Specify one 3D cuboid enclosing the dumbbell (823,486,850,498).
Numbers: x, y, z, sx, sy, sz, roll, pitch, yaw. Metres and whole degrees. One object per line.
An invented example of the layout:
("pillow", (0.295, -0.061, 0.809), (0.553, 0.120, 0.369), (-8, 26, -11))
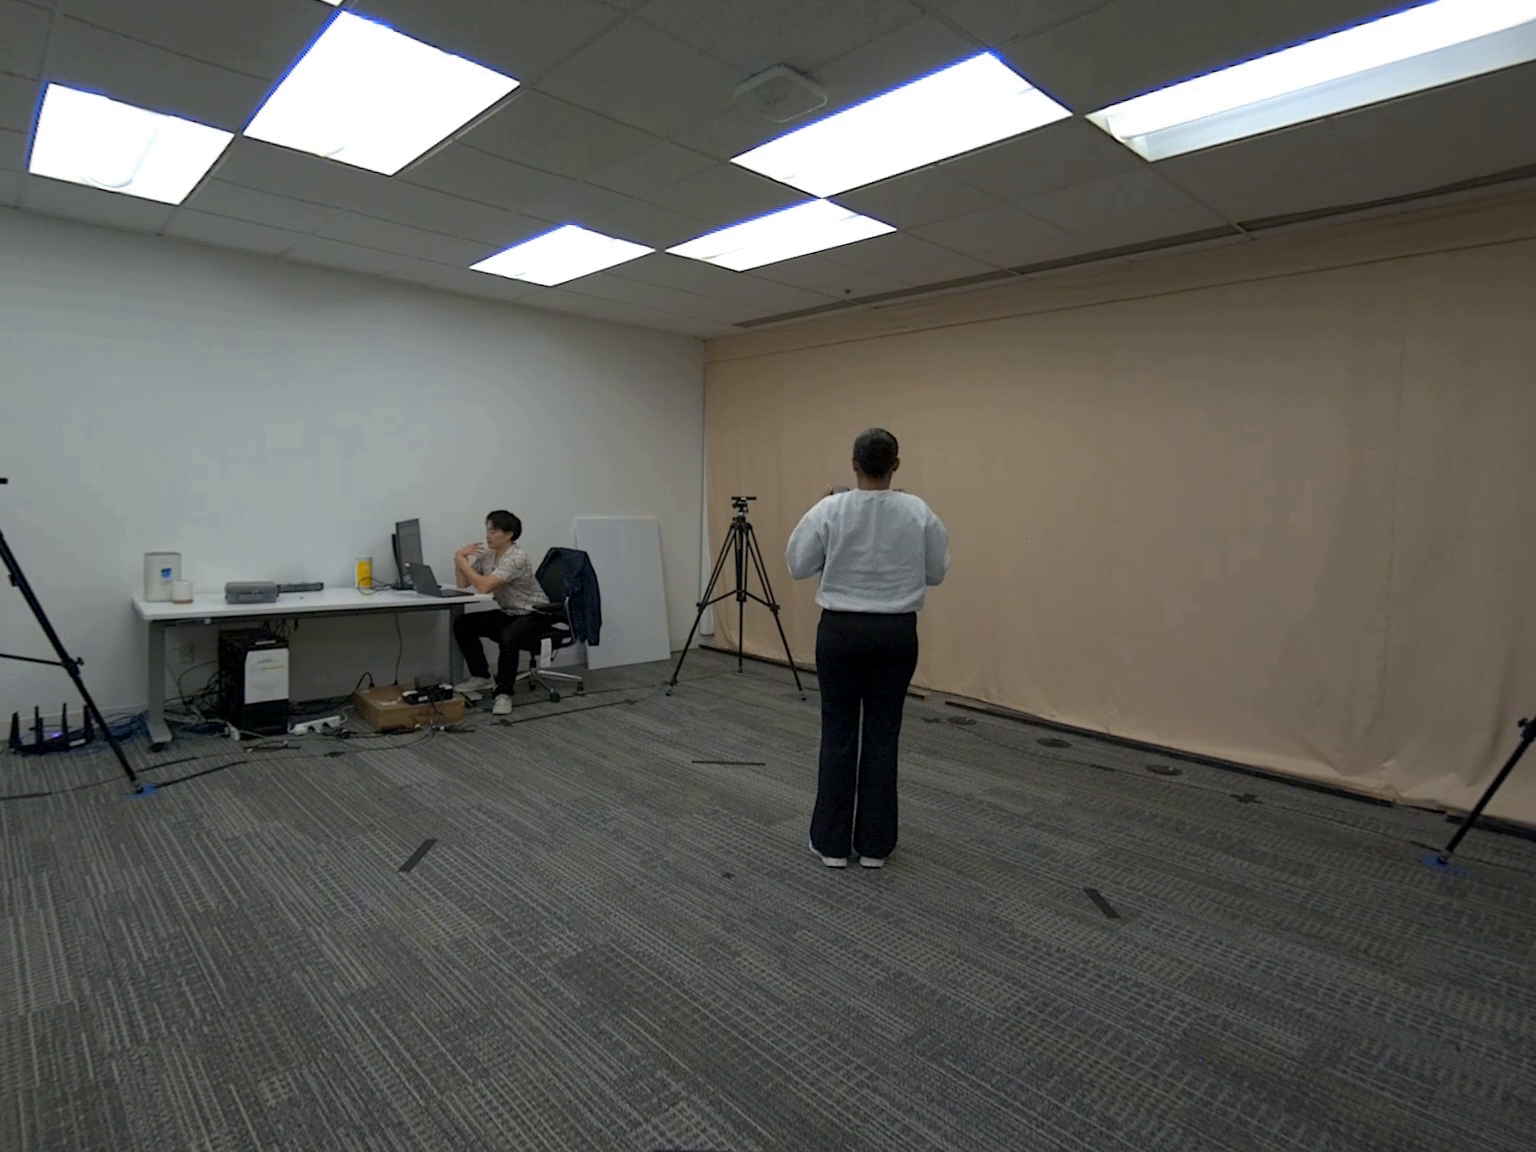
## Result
("dumbbell", (0.386, -0.292, 3.316), (0.294, 0.125, 0.106), (4, -39, 2))
